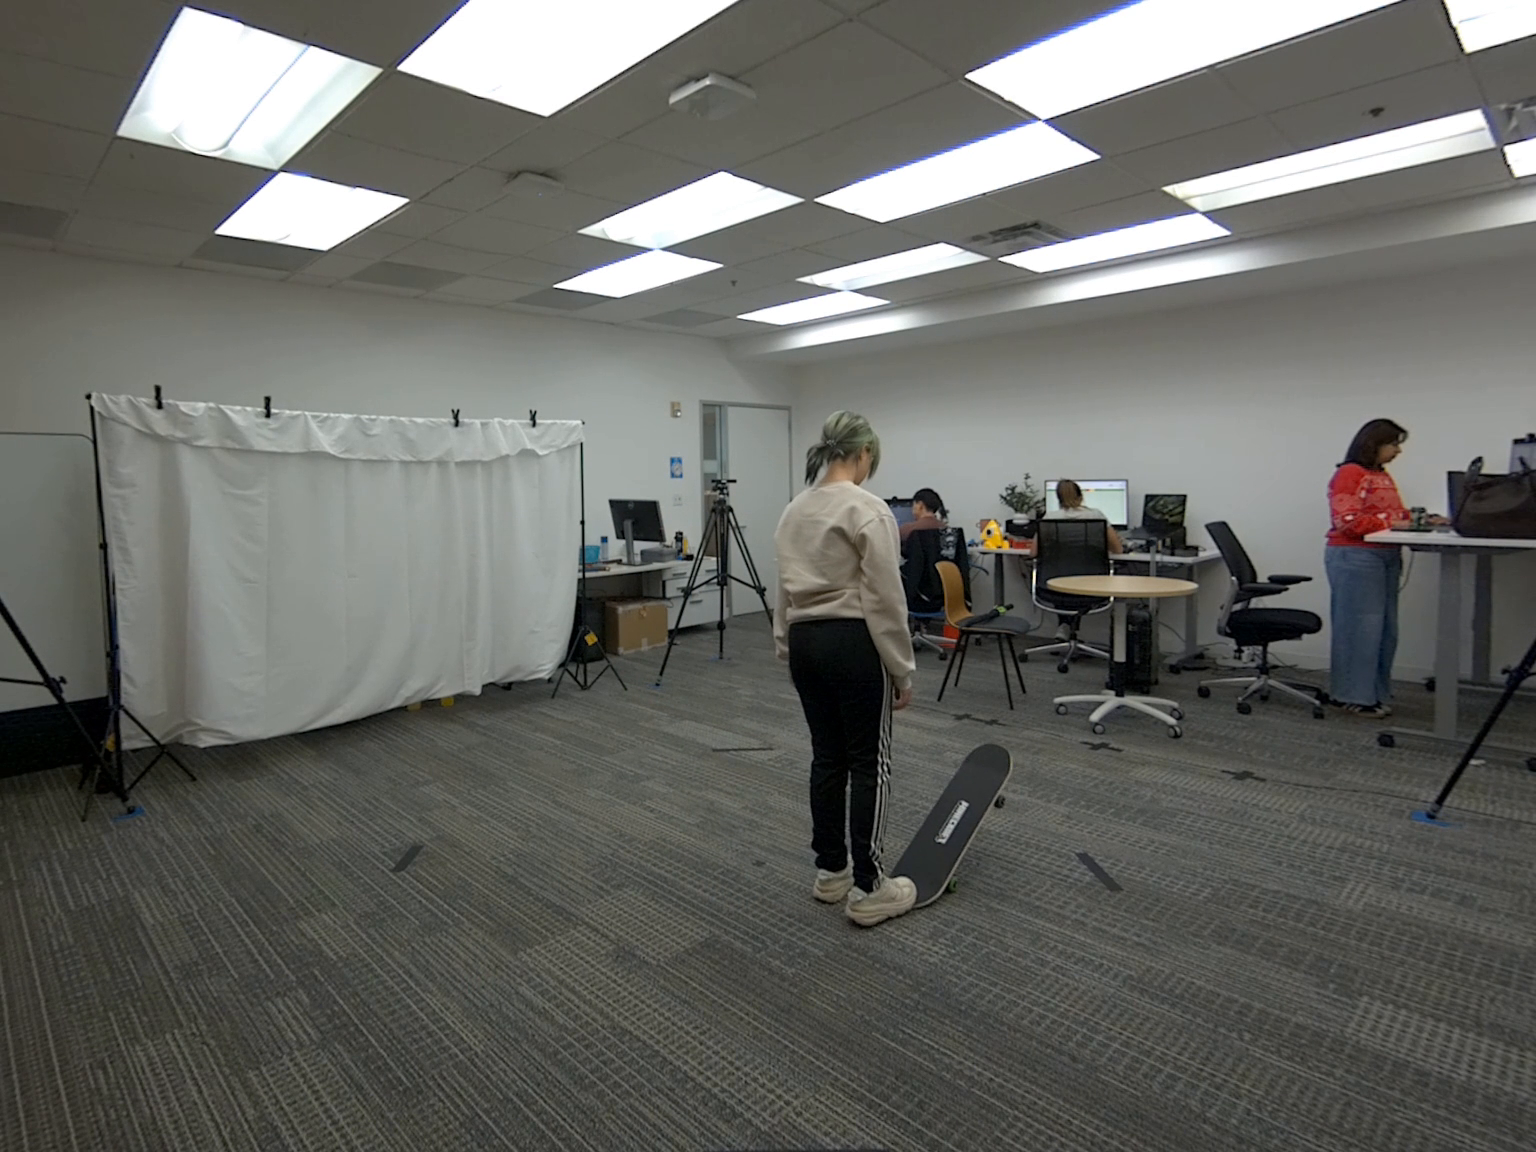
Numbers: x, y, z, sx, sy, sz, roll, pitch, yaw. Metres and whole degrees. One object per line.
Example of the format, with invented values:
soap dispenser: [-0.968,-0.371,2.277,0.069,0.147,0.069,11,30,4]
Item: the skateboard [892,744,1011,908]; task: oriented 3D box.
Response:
skateboard: [0.670,0.899,3.045,0.199,0.107,0.783,3,35,42]
